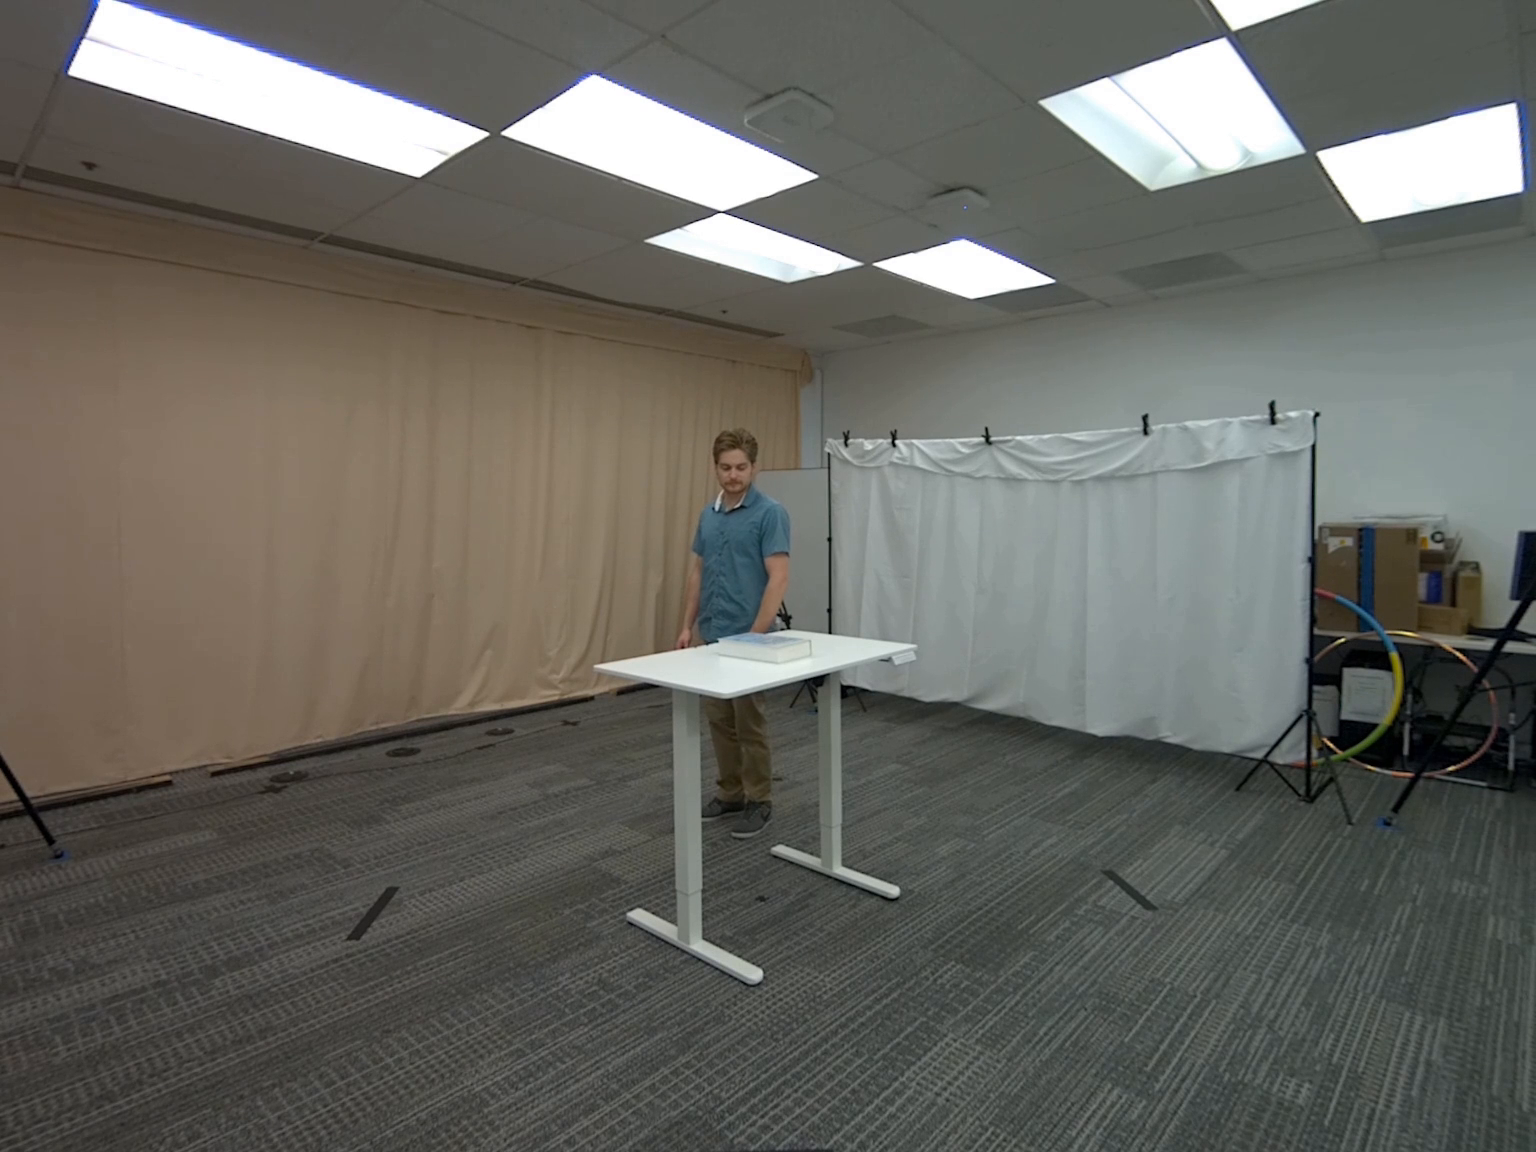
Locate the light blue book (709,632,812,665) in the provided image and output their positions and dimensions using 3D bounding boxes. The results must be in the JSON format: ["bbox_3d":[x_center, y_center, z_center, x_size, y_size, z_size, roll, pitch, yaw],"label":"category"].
[{"bbox_3d":[-0.009,0.243,2.862,0.270,0.059,0.185,4,6,40],"label":"light blue book"}]
